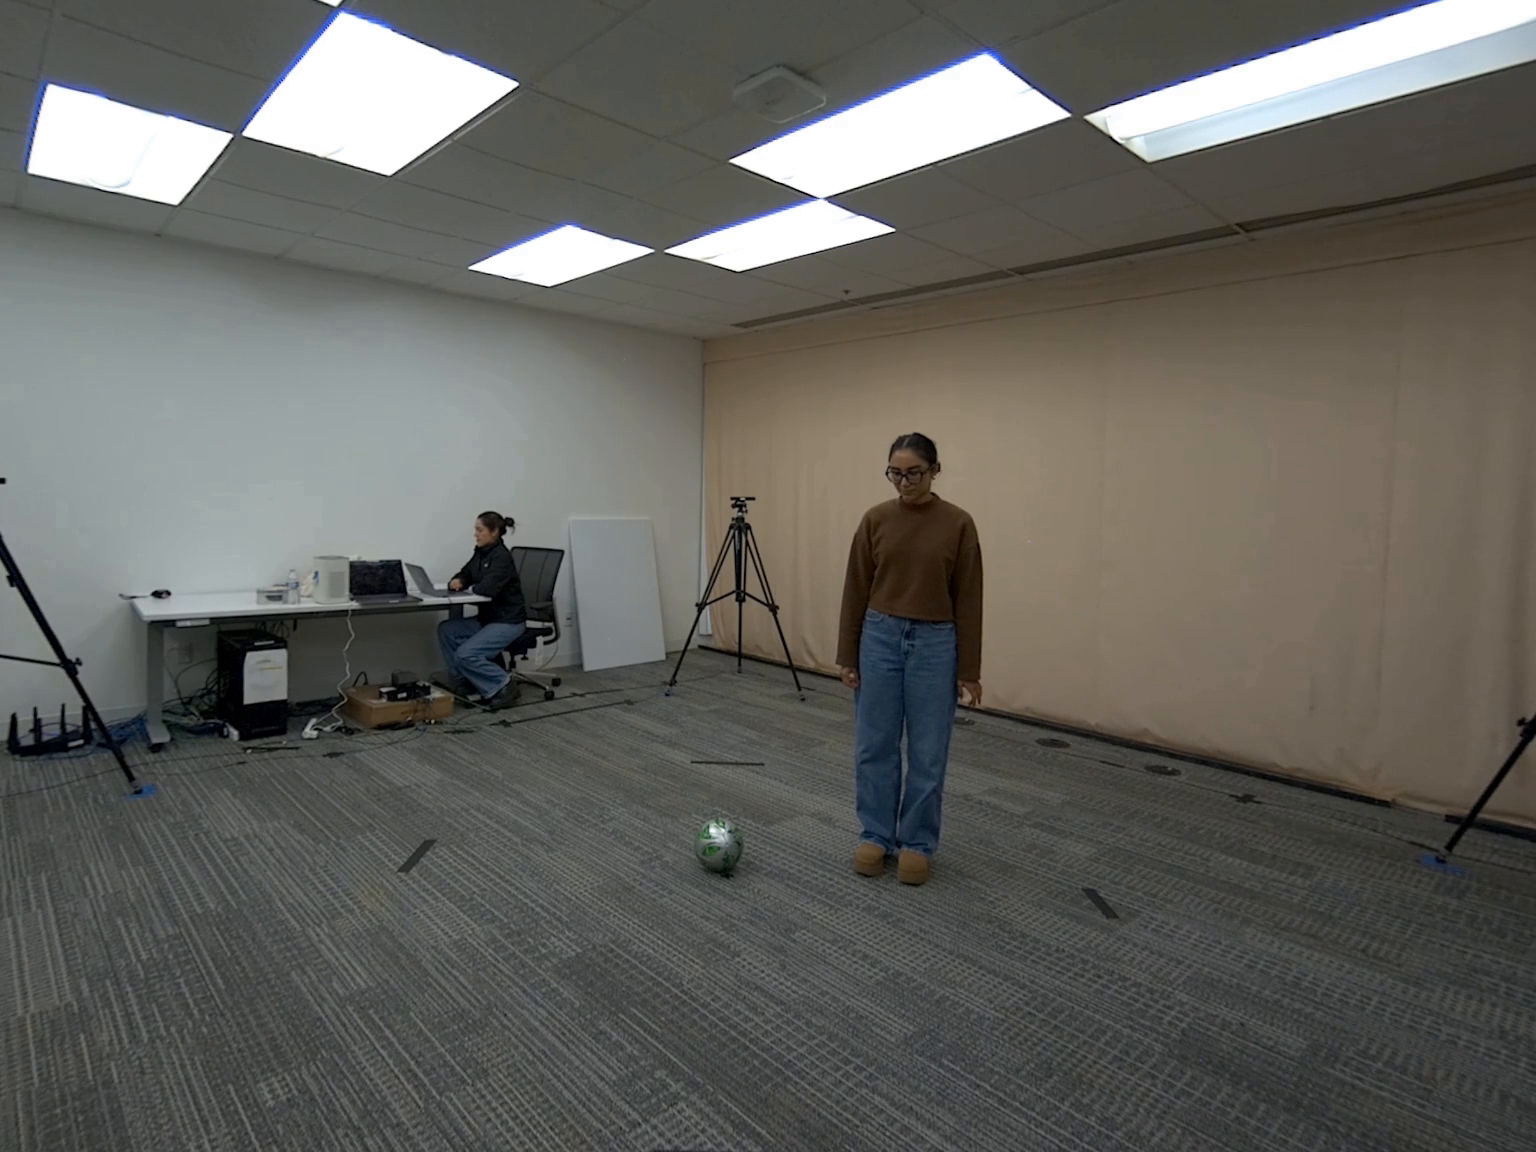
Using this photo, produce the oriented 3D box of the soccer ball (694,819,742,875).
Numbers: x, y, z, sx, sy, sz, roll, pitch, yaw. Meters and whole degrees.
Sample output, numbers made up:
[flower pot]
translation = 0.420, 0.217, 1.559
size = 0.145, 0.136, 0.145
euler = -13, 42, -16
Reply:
[soccer ball]
translation = -0.194, 1.004, 3.151
size = 0.187, 0.187, 0.188
euler = 1, 4, -1
